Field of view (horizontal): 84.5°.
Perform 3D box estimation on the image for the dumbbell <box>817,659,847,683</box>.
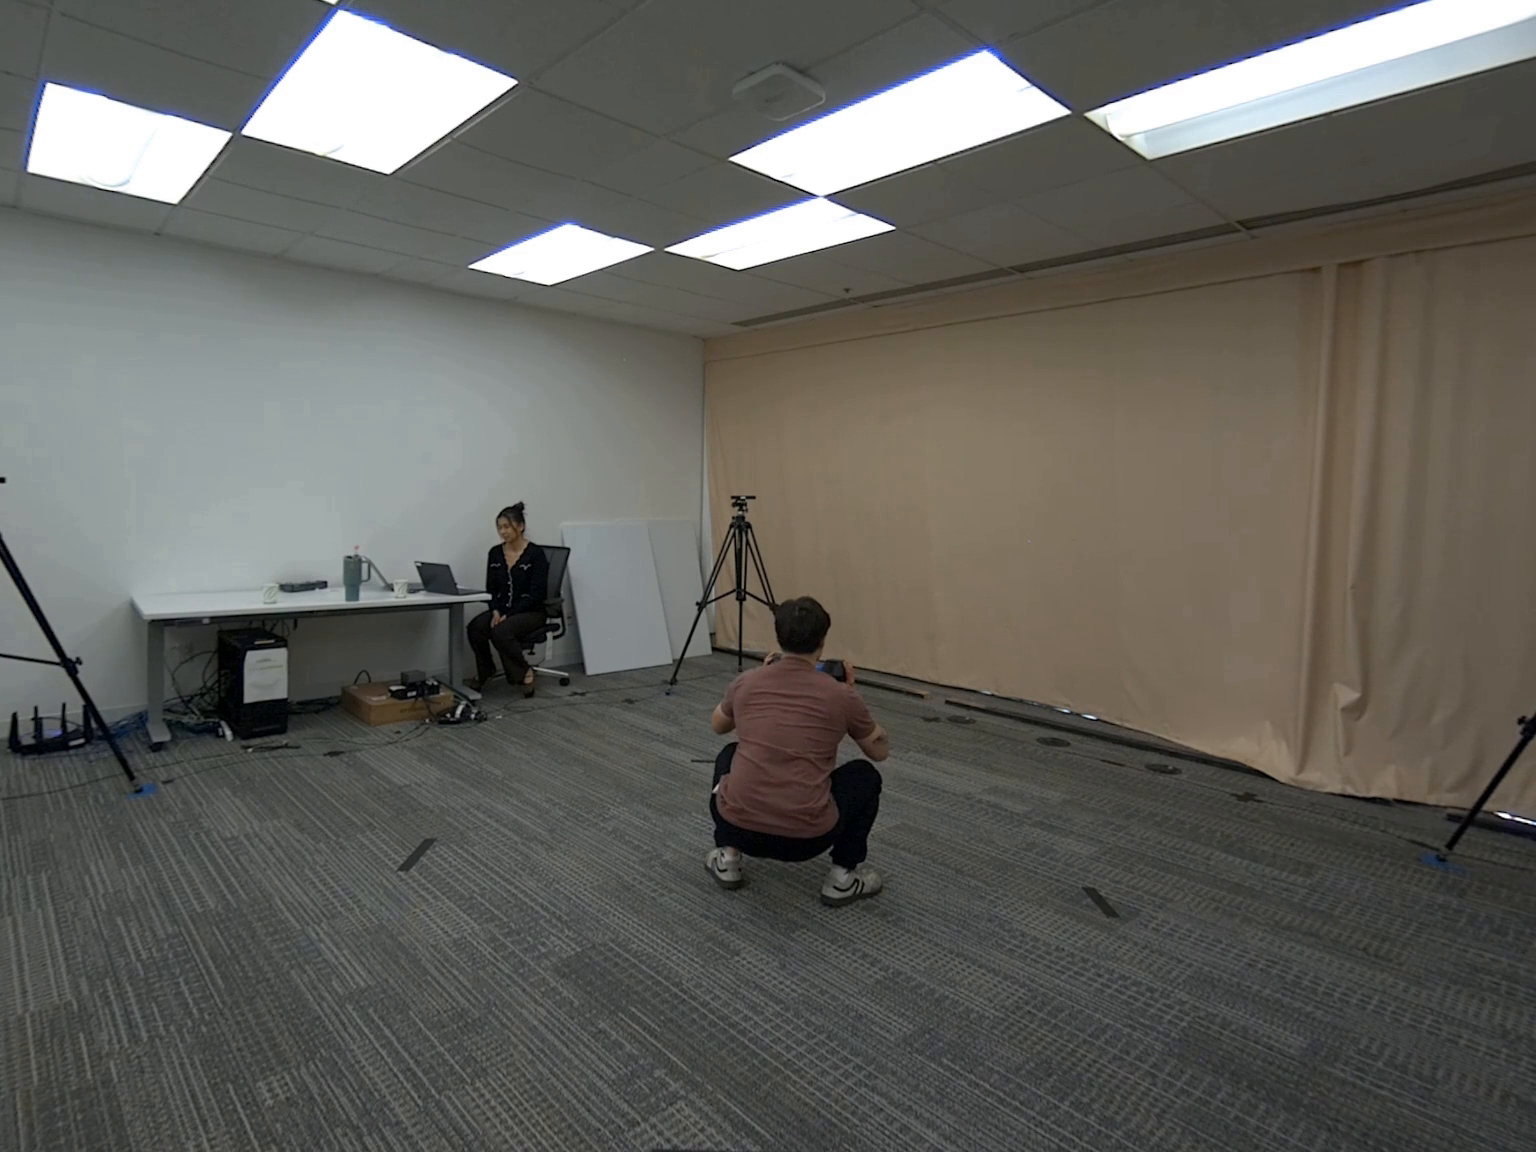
[{"bbox_3d":[0.150,0.352,3.209,0.297,0.125,0.105,0,-30,16],"label":"dumbbell"}]
